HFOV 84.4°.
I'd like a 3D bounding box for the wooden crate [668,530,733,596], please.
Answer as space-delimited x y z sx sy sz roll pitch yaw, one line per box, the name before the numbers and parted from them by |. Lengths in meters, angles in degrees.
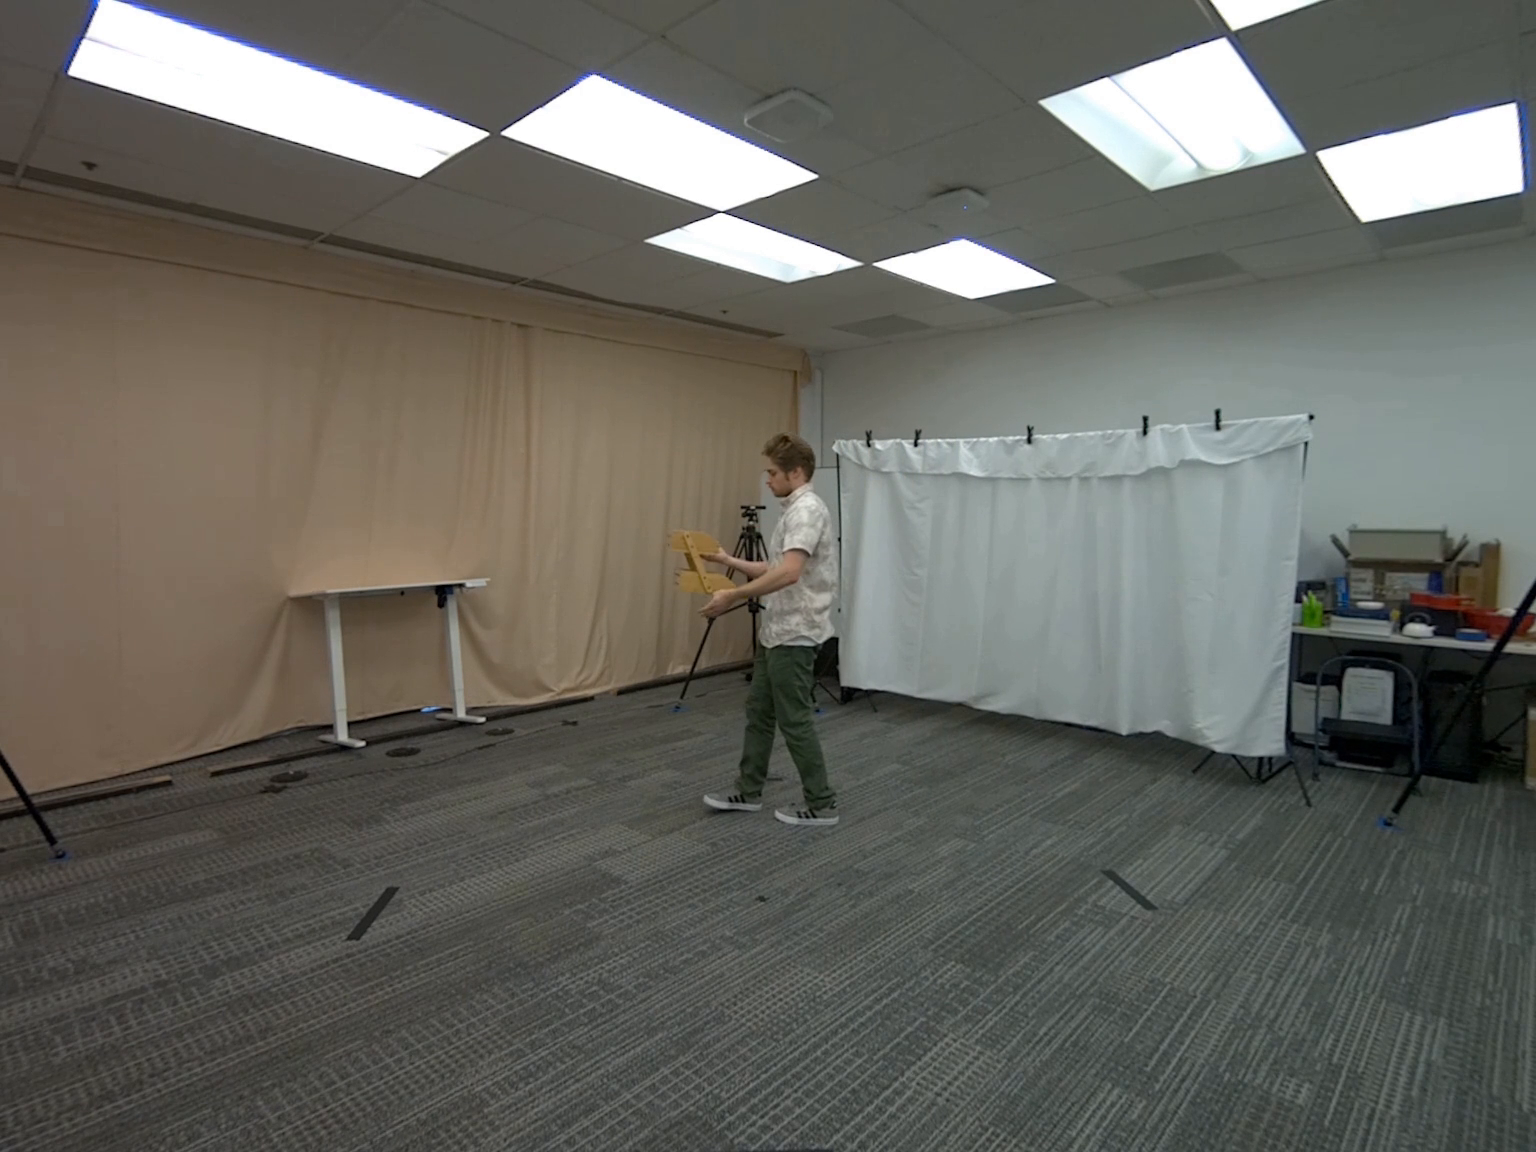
wooden crate | -0.293 -0.060 3.781 0.299 0.273 0.327 6 -1 -9
